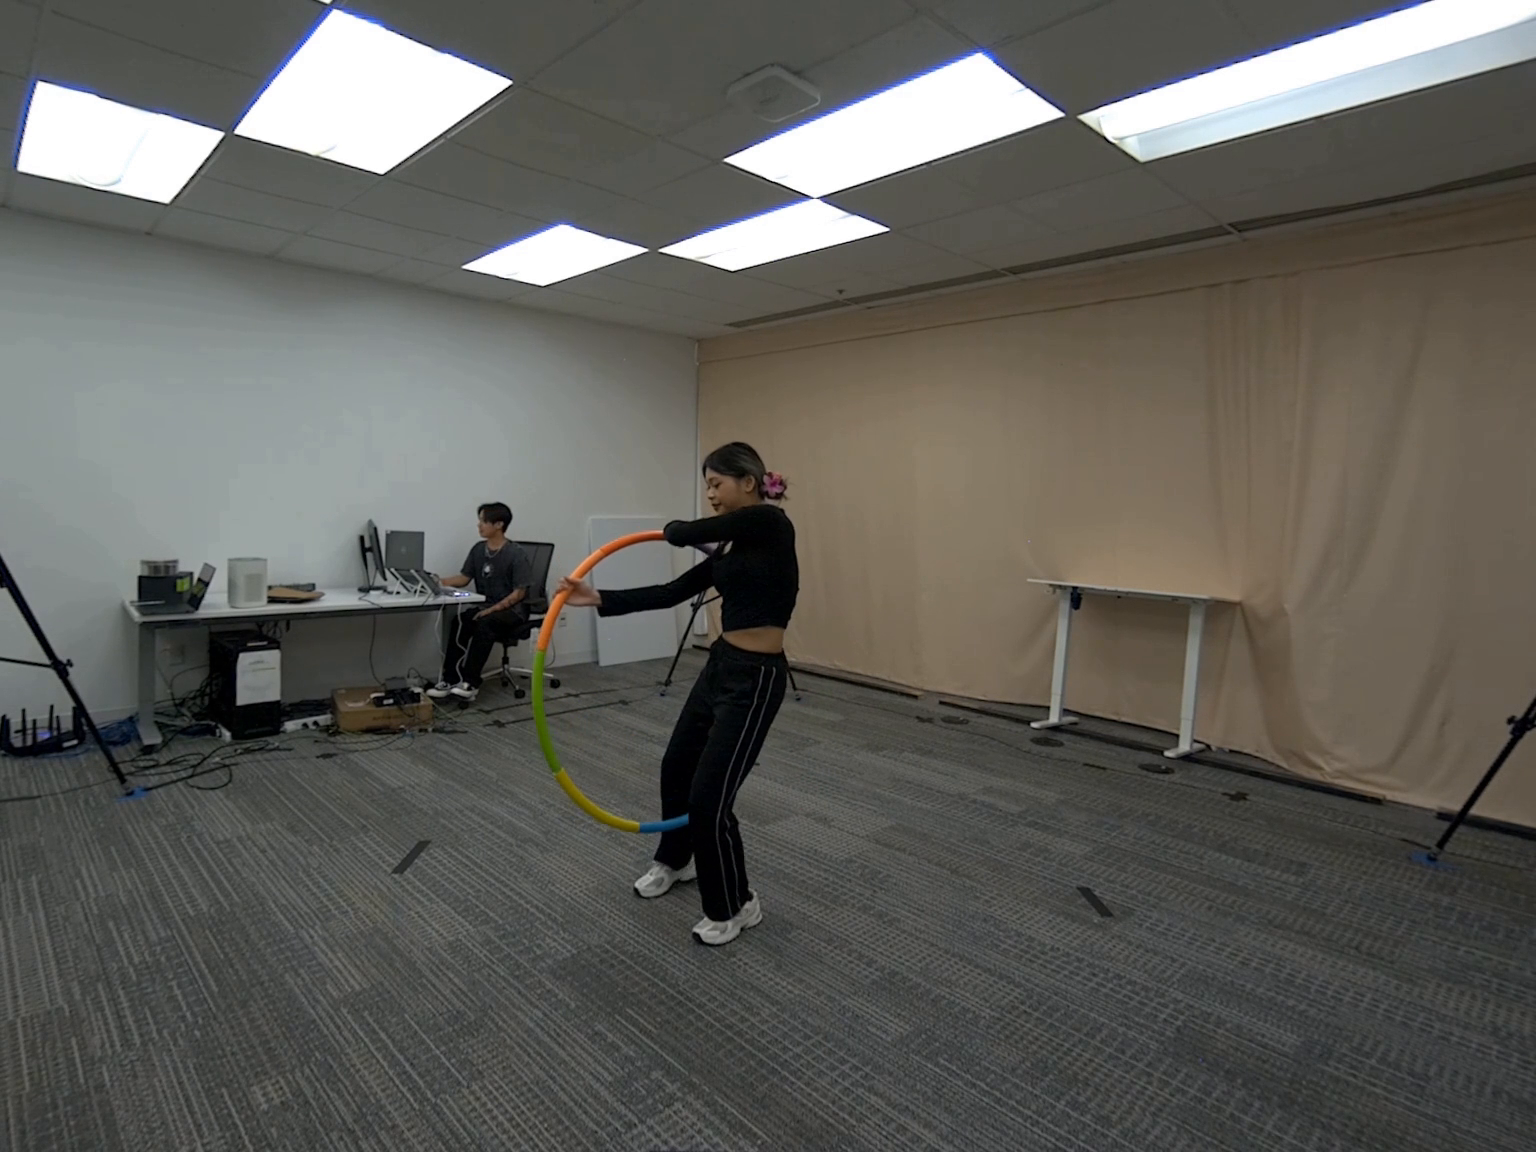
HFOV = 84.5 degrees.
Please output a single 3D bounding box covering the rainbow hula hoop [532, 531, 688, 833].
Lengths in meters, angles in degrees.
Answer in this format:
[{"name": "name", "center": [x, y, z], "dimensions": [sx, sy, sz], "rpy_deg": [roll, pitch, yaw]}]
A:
[{"name": "rainbow hula hoop", "center": [-0.339, 0.337, 2.817], "dimensions": [0.956, 0.979, 0.036], "rpy_deg": [-2, -1, -40]}]
